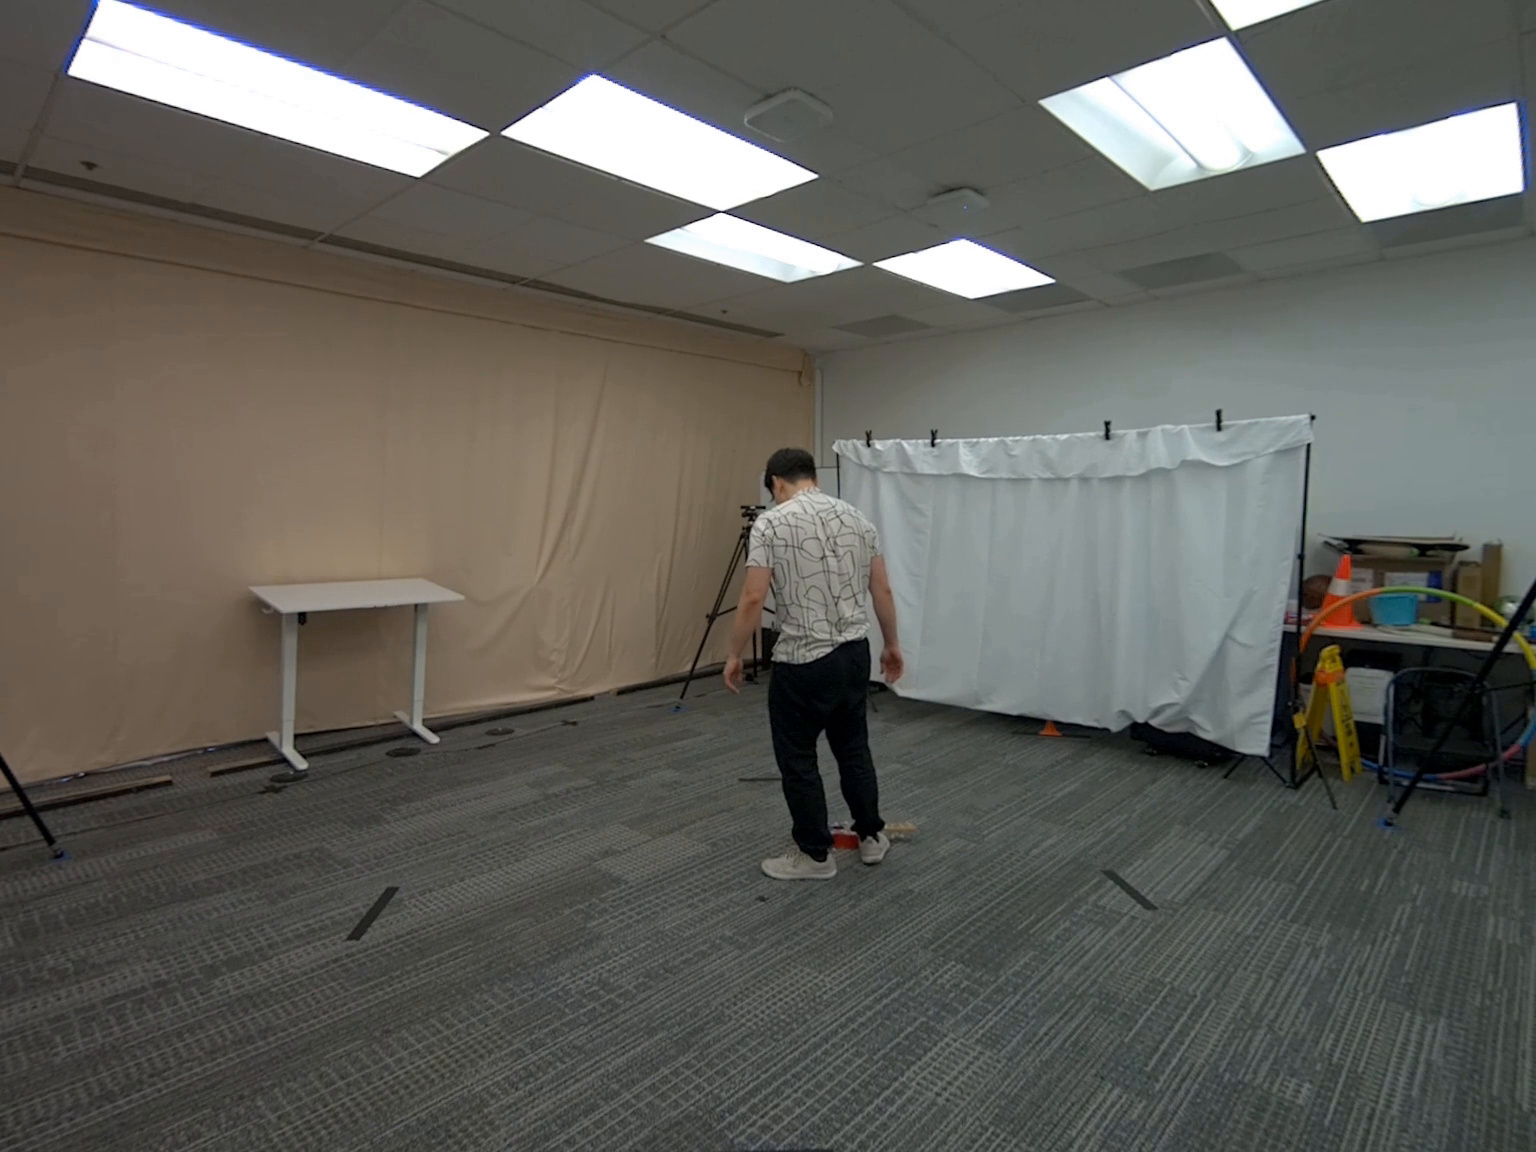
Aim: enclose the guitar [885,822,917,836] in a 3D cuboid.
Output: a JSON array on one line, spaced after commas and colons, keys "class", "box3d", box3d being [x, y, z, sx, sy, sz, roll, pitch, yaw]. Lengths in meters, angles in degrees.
[{"class": "guitar", "box3d": [0.365, 1.067, 3.459, 0.501, 0.070, 0.192, 0, 3, 5]}]
